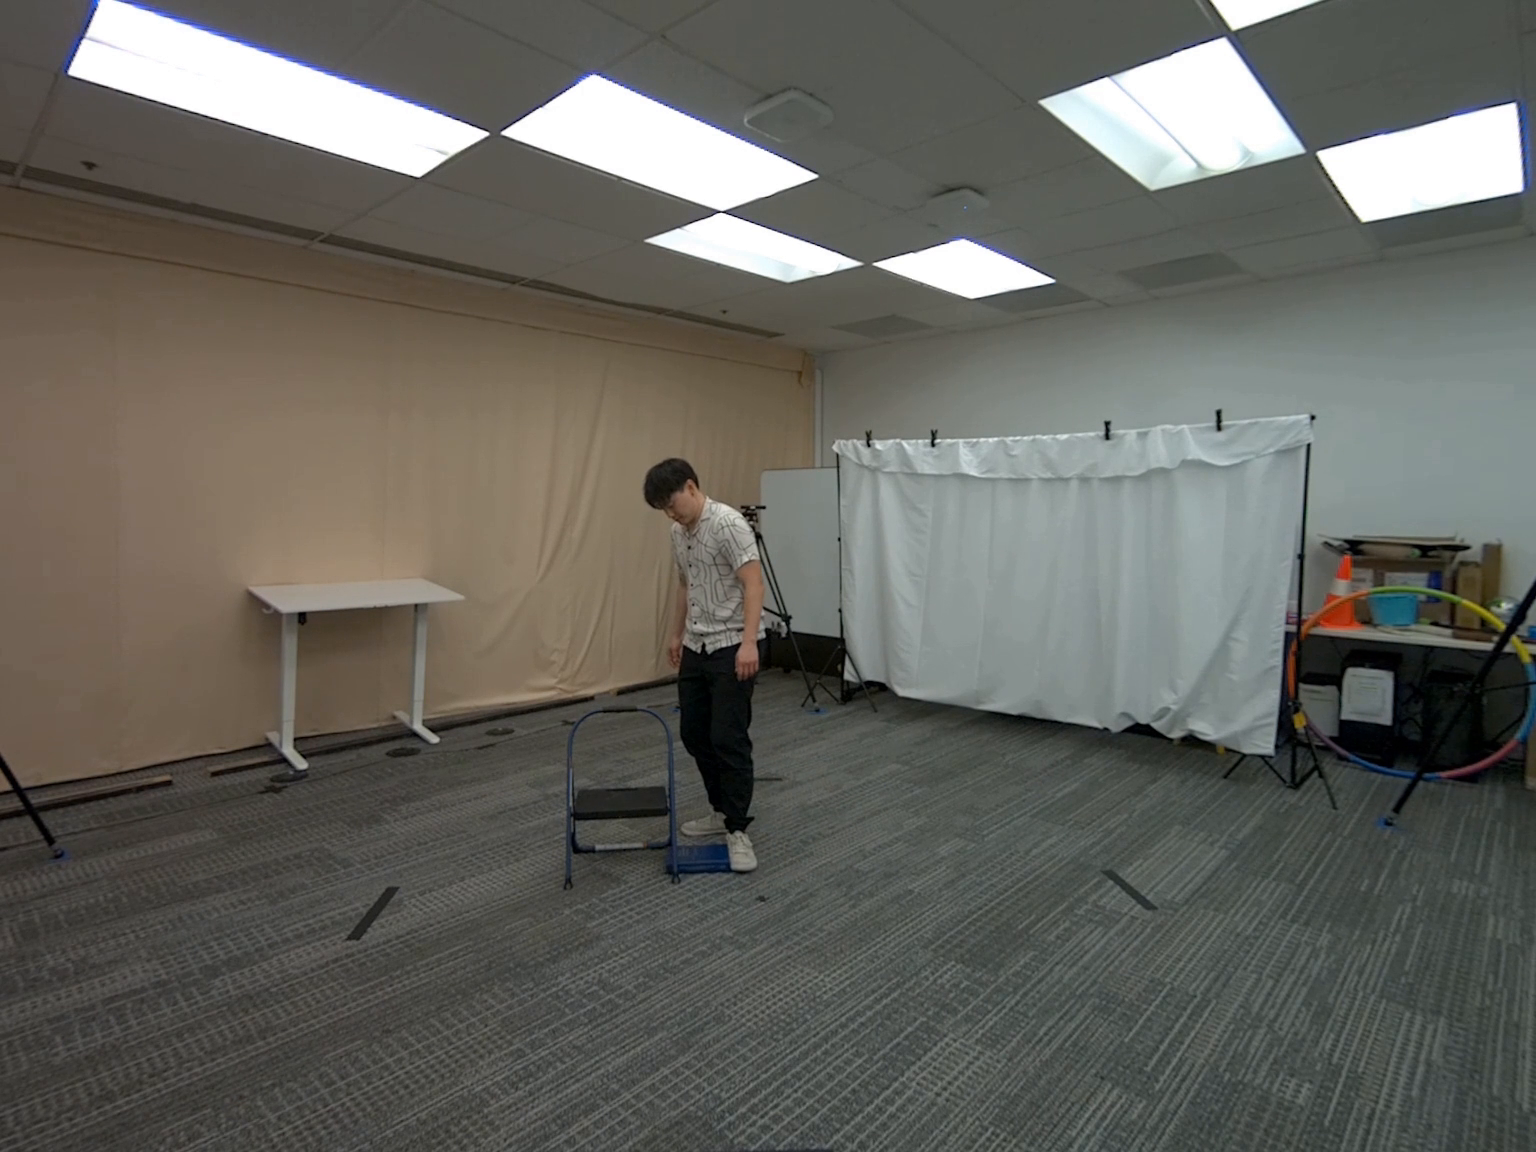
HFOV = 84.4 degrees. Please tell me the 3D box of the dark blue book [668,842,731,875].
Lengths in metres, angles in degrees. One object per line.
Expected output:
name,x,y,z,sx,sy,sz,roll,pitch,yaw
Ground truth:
dark blue book,-0.276,1.115,3.293,0.244,0.045,0.165,0,5,-5
